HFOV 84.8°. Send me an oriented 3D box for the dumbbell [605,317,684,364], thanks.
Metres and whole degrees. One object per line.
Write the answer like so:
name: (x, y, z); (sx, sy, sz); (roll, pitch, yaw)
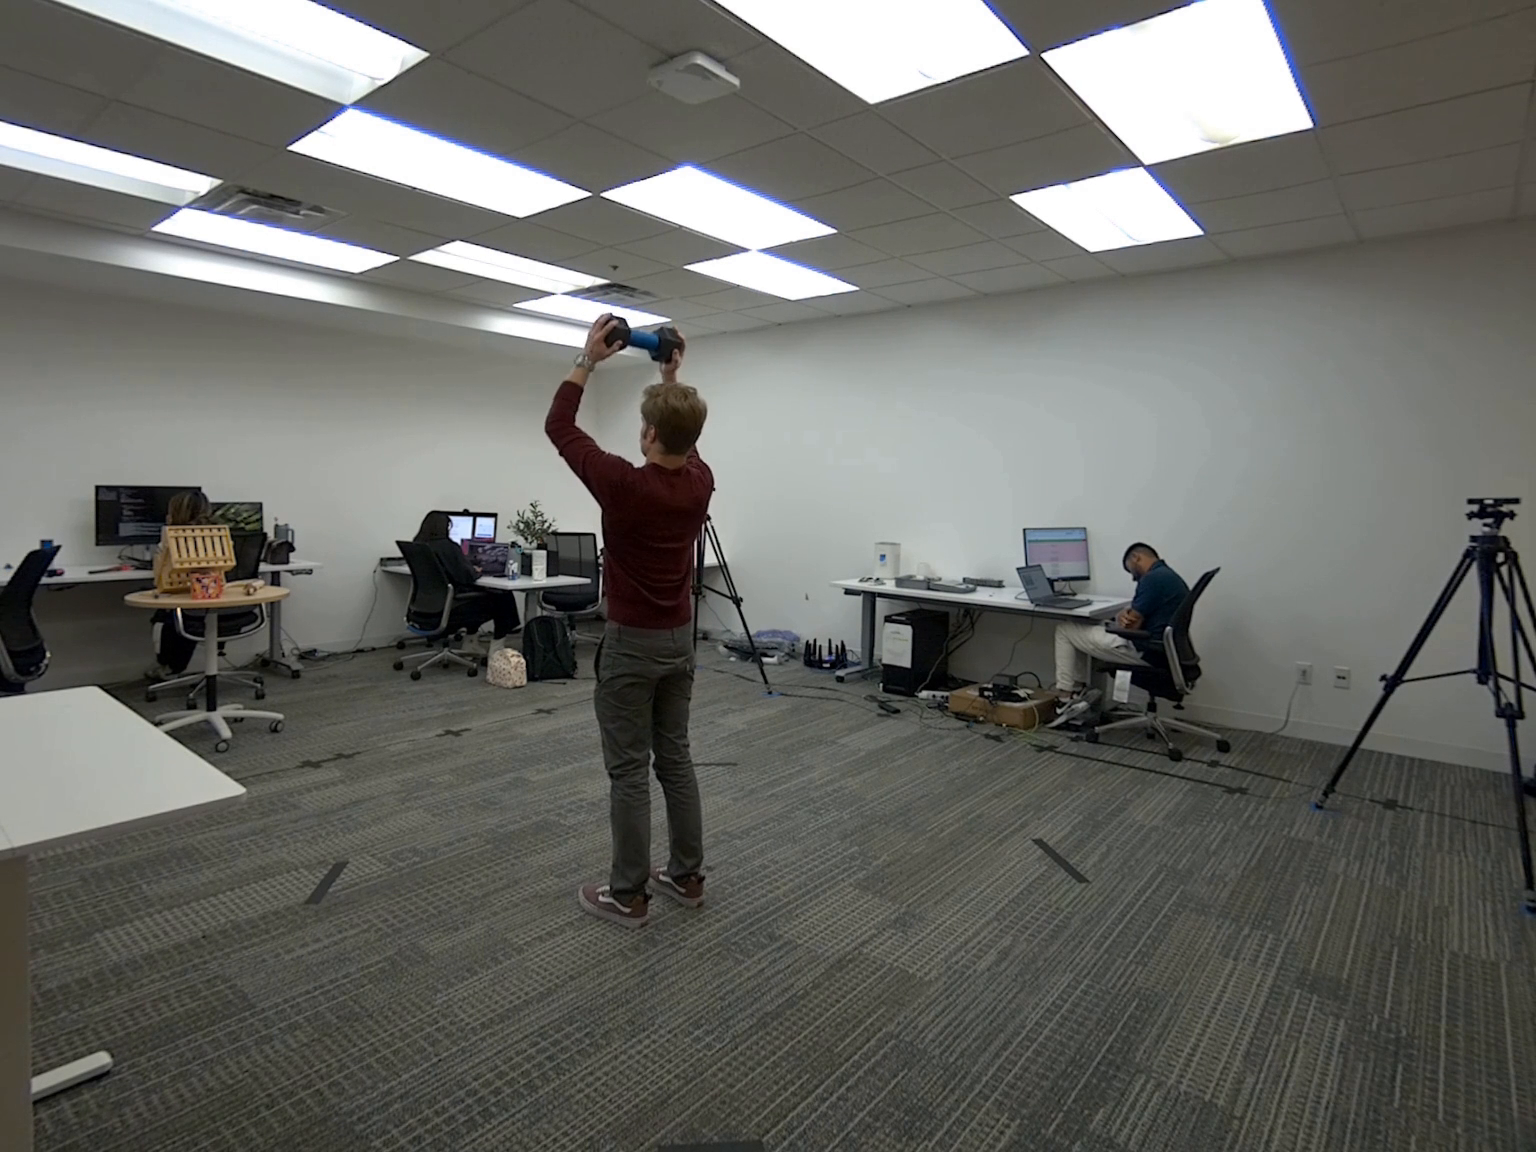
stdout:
dumbbell: (-0.438, -0.778, 2.835); (0.284, 0.122, 0.113); (2, 24, -43)
